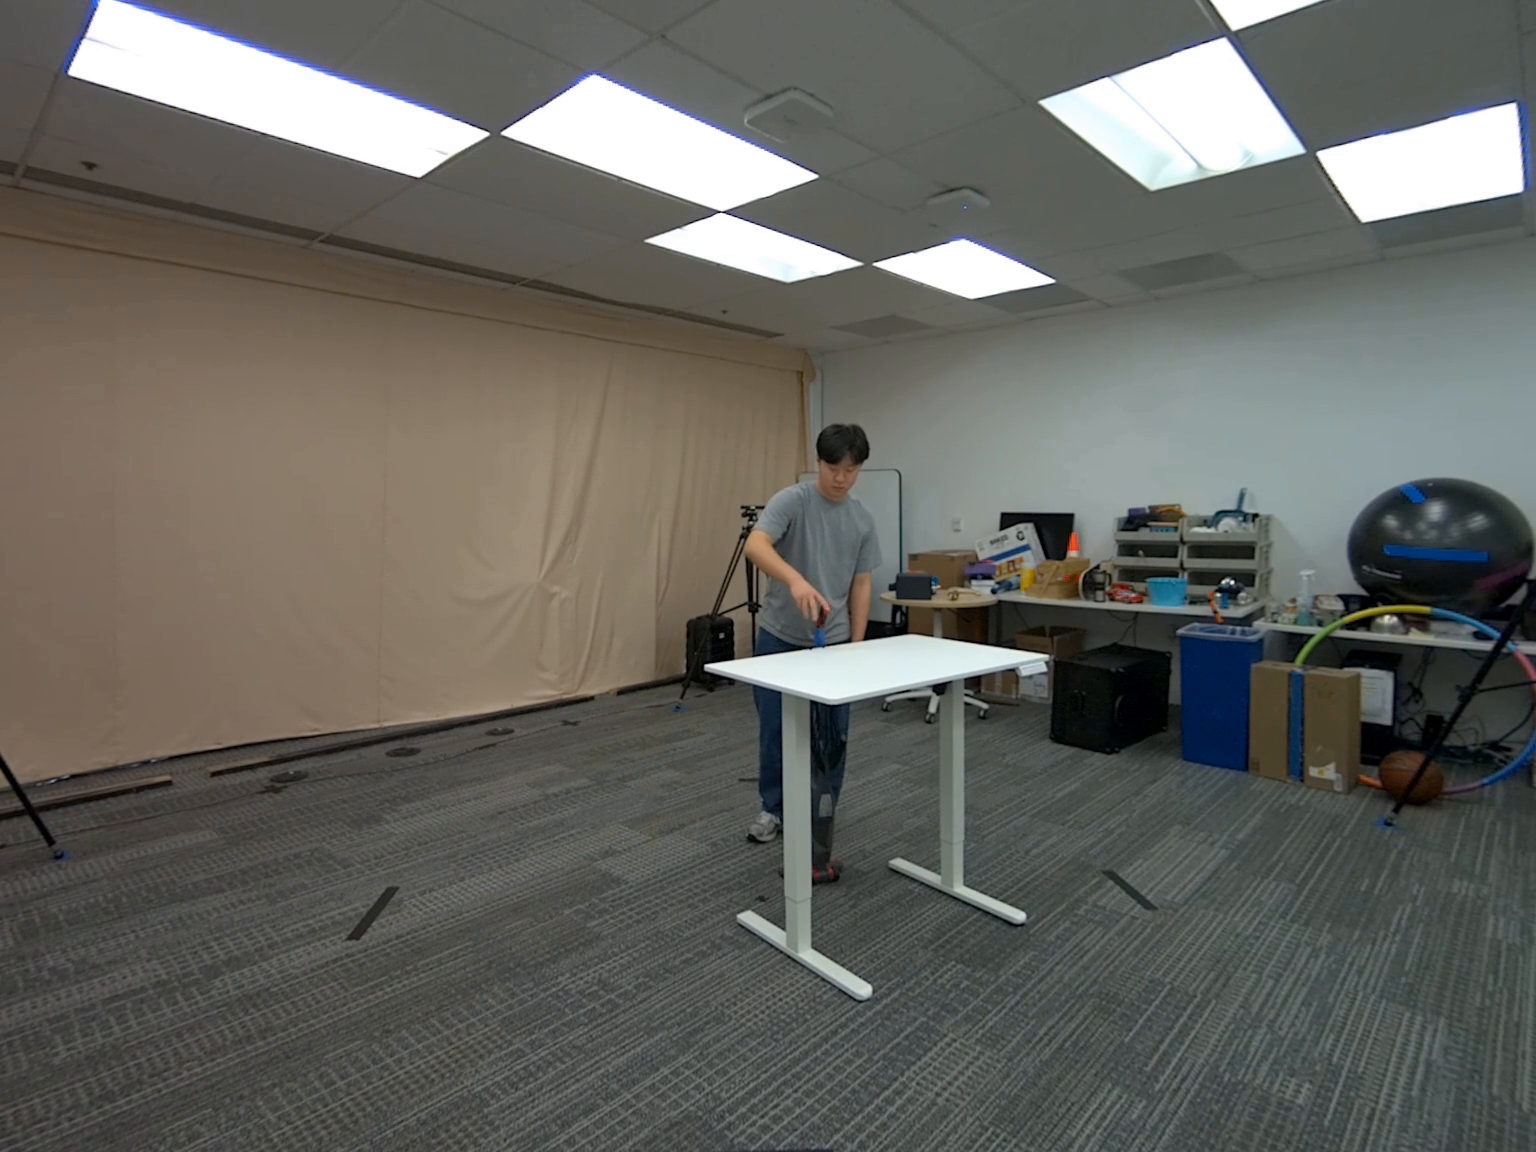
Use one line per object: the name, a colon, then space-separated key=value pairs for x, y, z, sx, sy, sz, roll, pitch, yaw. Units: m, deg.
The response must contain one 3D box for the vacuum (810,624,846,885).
vacuum: x=0.202 y=0.621 z=3.078 sx=0.249 sy=1.043 sz=0.147 roll=-1 pitch=10 yaw=-12
